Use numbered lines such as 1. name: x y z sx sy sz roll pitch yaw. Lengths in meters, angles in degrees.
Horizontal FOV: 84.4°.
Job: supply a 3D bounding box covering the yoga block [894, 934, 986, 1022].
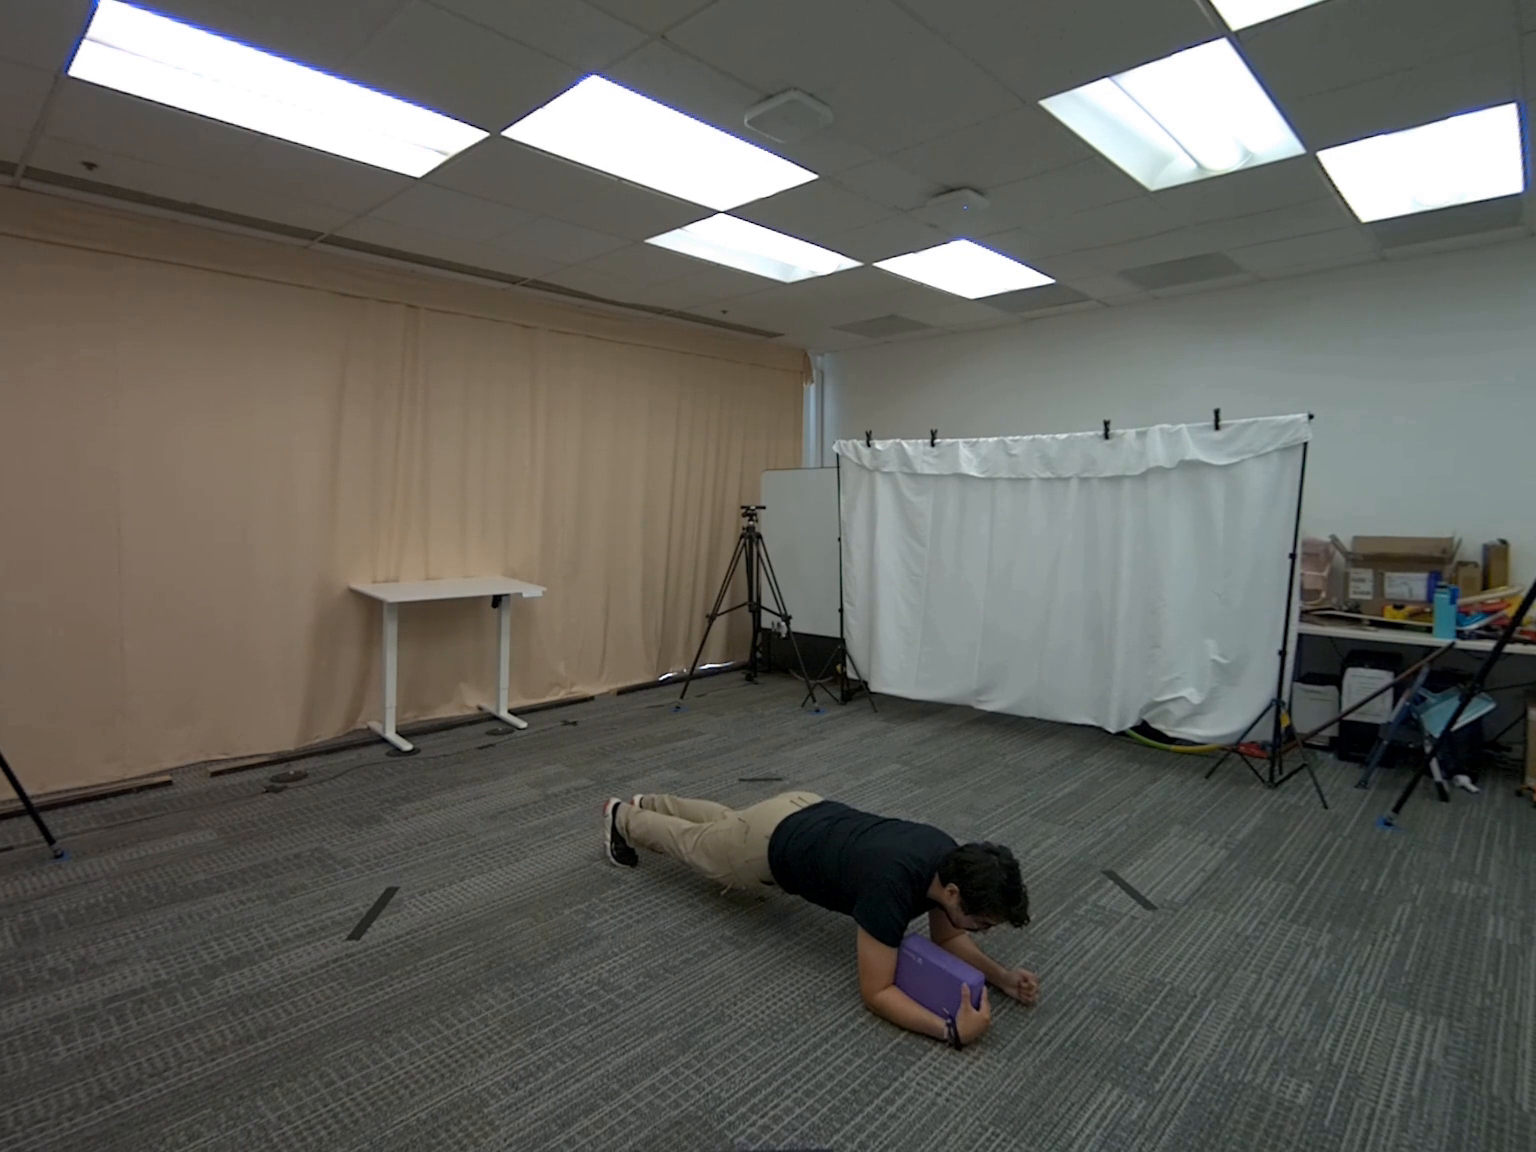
1. yoga block: 0.462 1.089 2.285 0.074 0.149 0.238 9 6 -43
